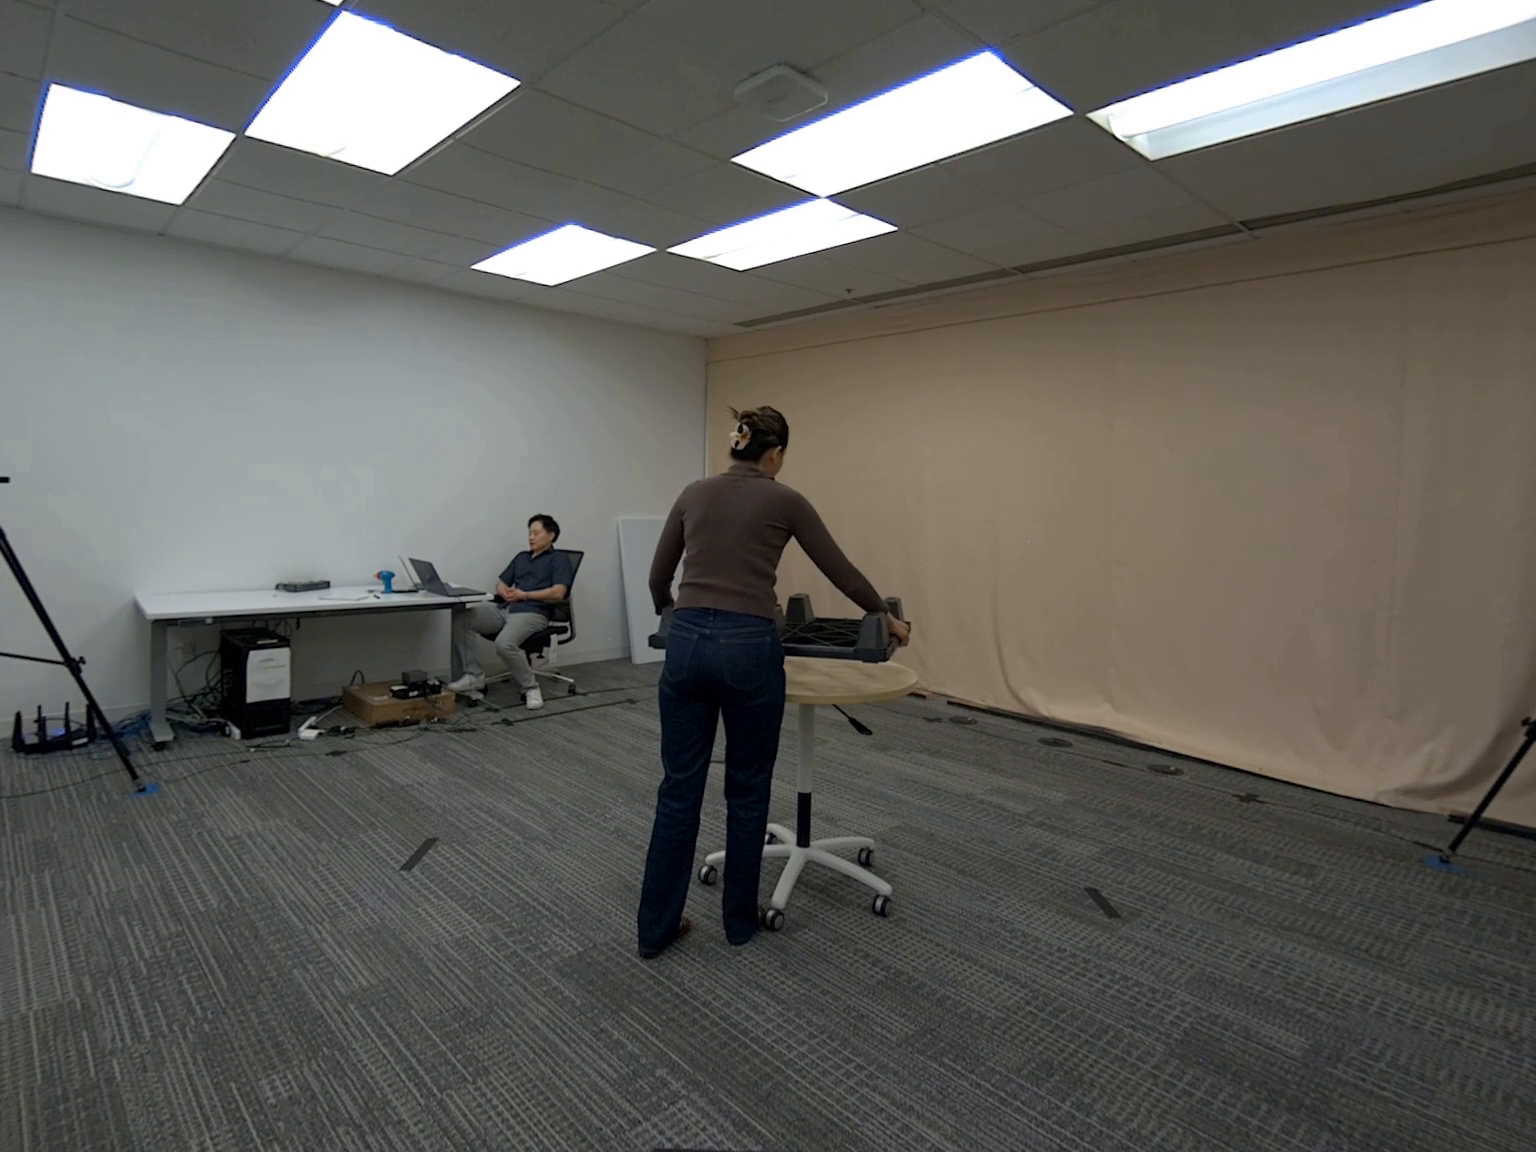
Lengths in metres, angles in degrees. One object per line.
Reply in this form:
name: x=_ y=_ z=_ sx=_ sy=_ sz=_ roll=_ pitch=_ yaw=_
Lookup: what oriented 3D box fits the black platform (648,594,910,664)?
black platform: x=0.053 y=0.161 z=2.952 sx=0.817 sy=0.143 sz=0.599 roll=2 pitch=6 yaw=17
